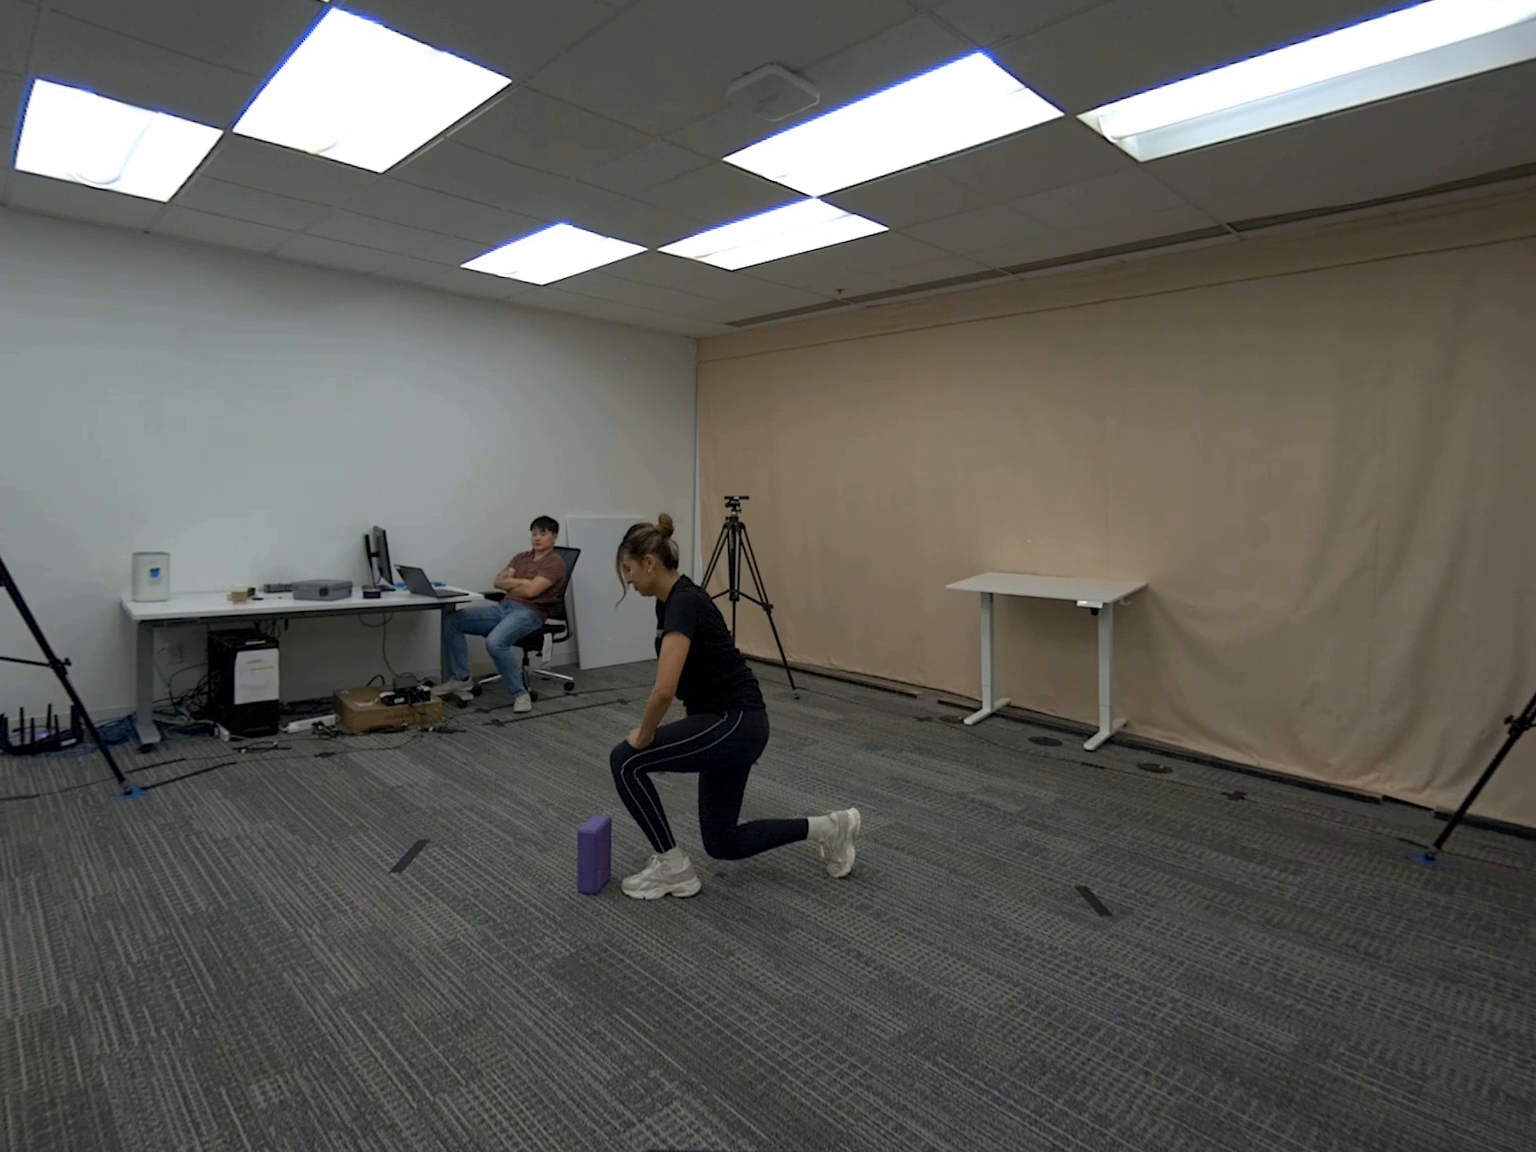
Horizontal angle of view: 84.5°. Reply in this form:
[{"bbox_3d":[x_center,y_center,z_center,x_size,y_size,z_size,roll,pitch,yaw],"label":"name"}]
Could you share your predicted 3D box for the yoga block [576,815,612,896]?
[{"bbox_3d":[-0.617,0.990,2.982,0.077,0.228,0.148,1,5,9],"label":"yoga block"}]
